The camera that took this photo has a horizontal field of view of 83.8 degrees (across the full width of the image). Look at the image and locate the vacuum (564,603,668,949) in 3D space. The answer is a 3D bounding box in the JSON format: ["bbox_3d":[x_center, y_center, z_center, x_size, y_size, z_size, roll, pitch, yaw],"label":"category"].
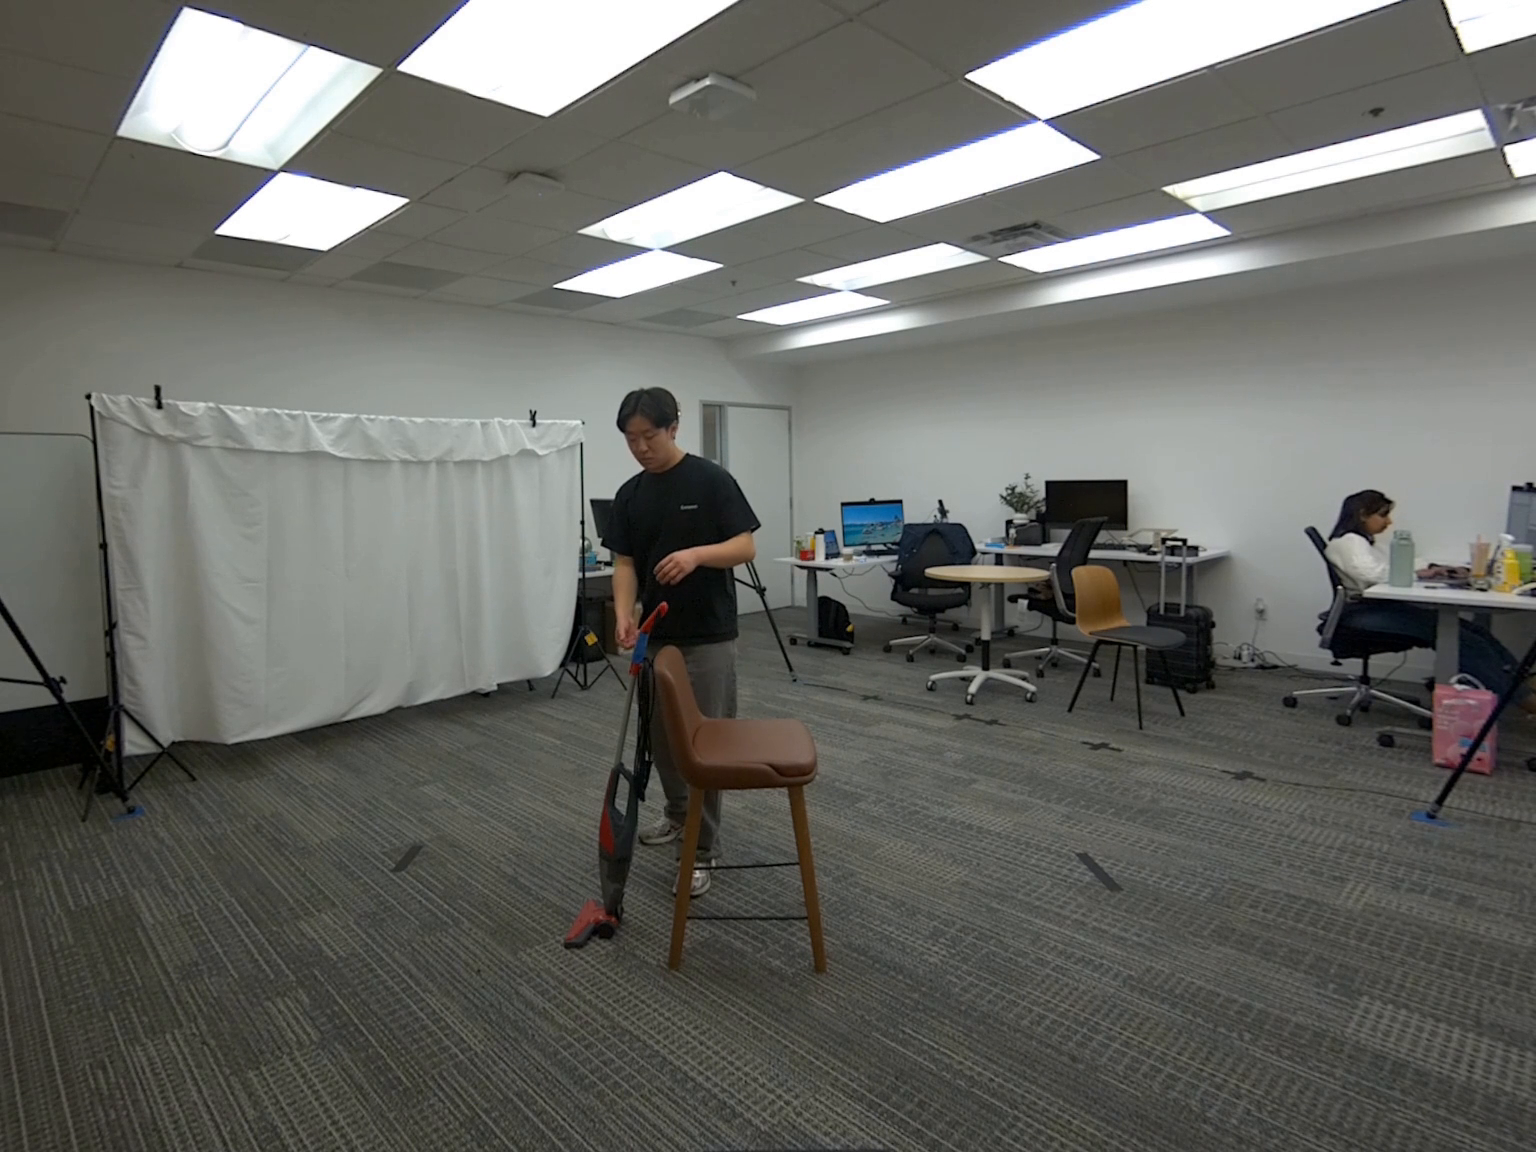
[{"bbox_3d":[-0.440,0.599,2.644,0.144,1.046,0.254,11,4,-3],"label":"vacuum"}]
